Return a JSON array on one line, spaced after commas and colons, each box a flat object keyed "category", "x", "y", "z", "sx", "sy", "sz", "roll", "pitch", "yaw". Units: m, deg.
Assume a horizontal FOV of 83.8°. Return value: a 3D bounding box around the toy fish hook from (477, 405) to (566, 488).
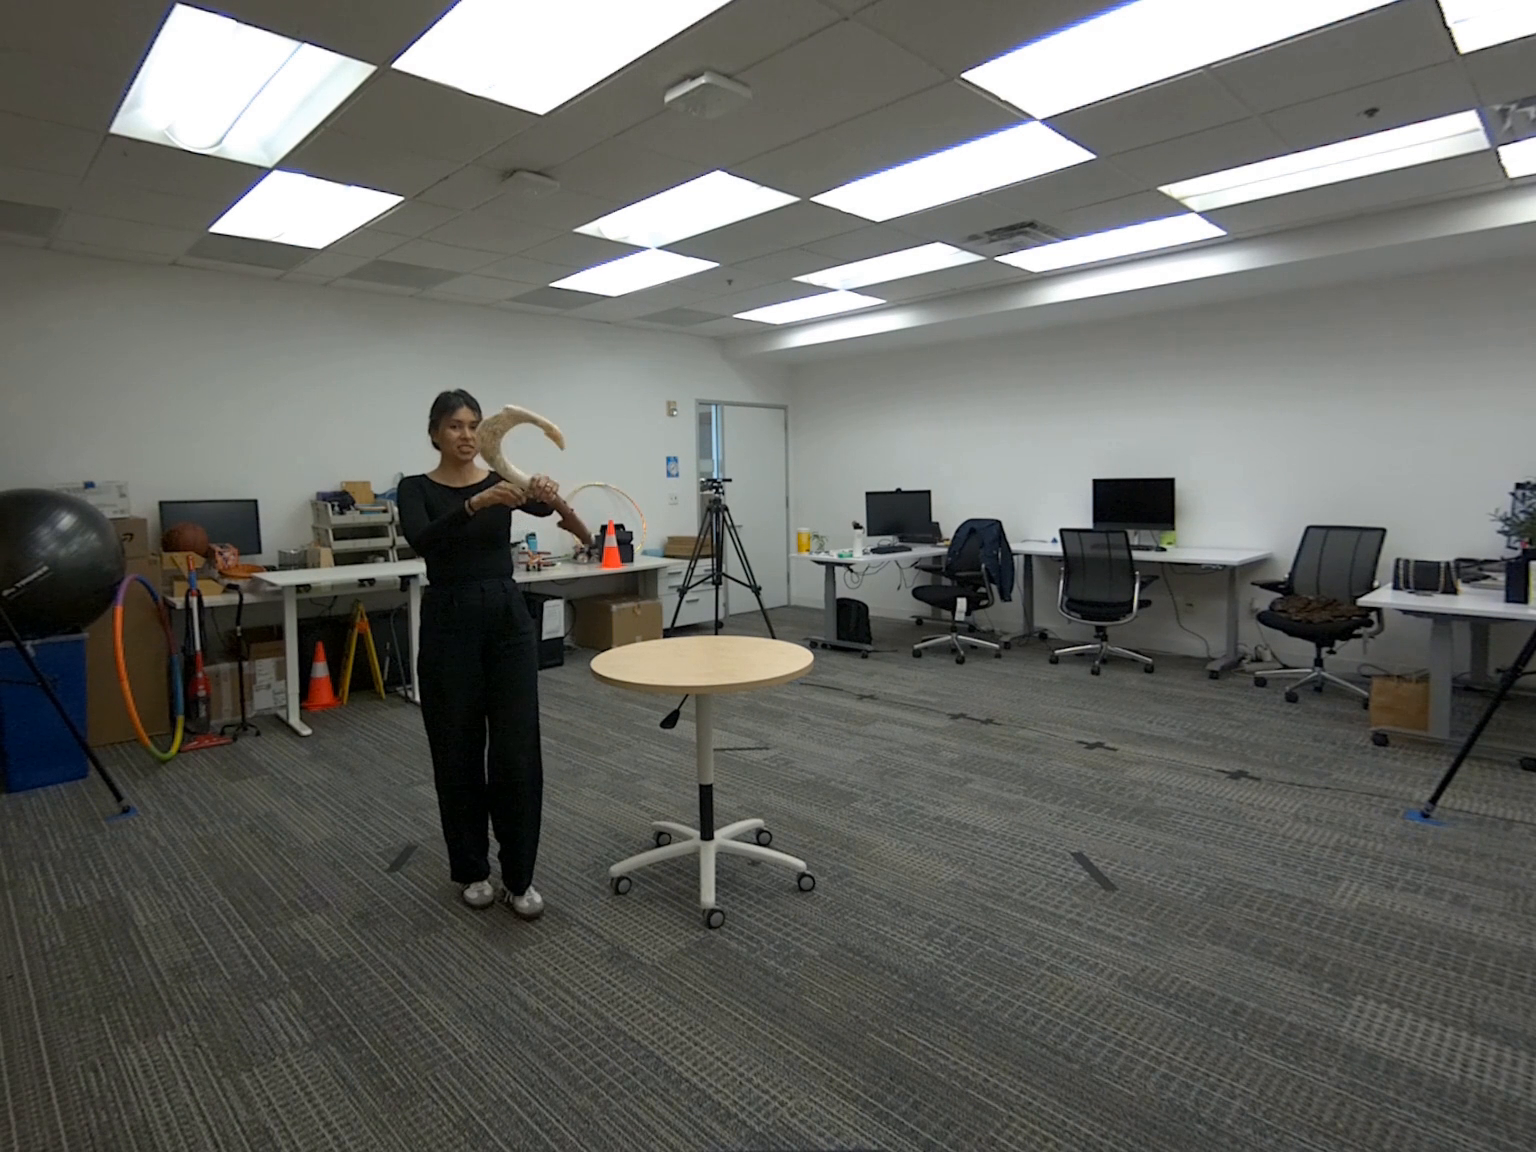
[{"category": "toy fish hook", "x": -0.611, "y": -0.270, "z": 2.404, "sx": 0.226, "sy": 0.488, "sz": 0.050, "roll": -24, "pitch": 38, "yaw": 16}]
